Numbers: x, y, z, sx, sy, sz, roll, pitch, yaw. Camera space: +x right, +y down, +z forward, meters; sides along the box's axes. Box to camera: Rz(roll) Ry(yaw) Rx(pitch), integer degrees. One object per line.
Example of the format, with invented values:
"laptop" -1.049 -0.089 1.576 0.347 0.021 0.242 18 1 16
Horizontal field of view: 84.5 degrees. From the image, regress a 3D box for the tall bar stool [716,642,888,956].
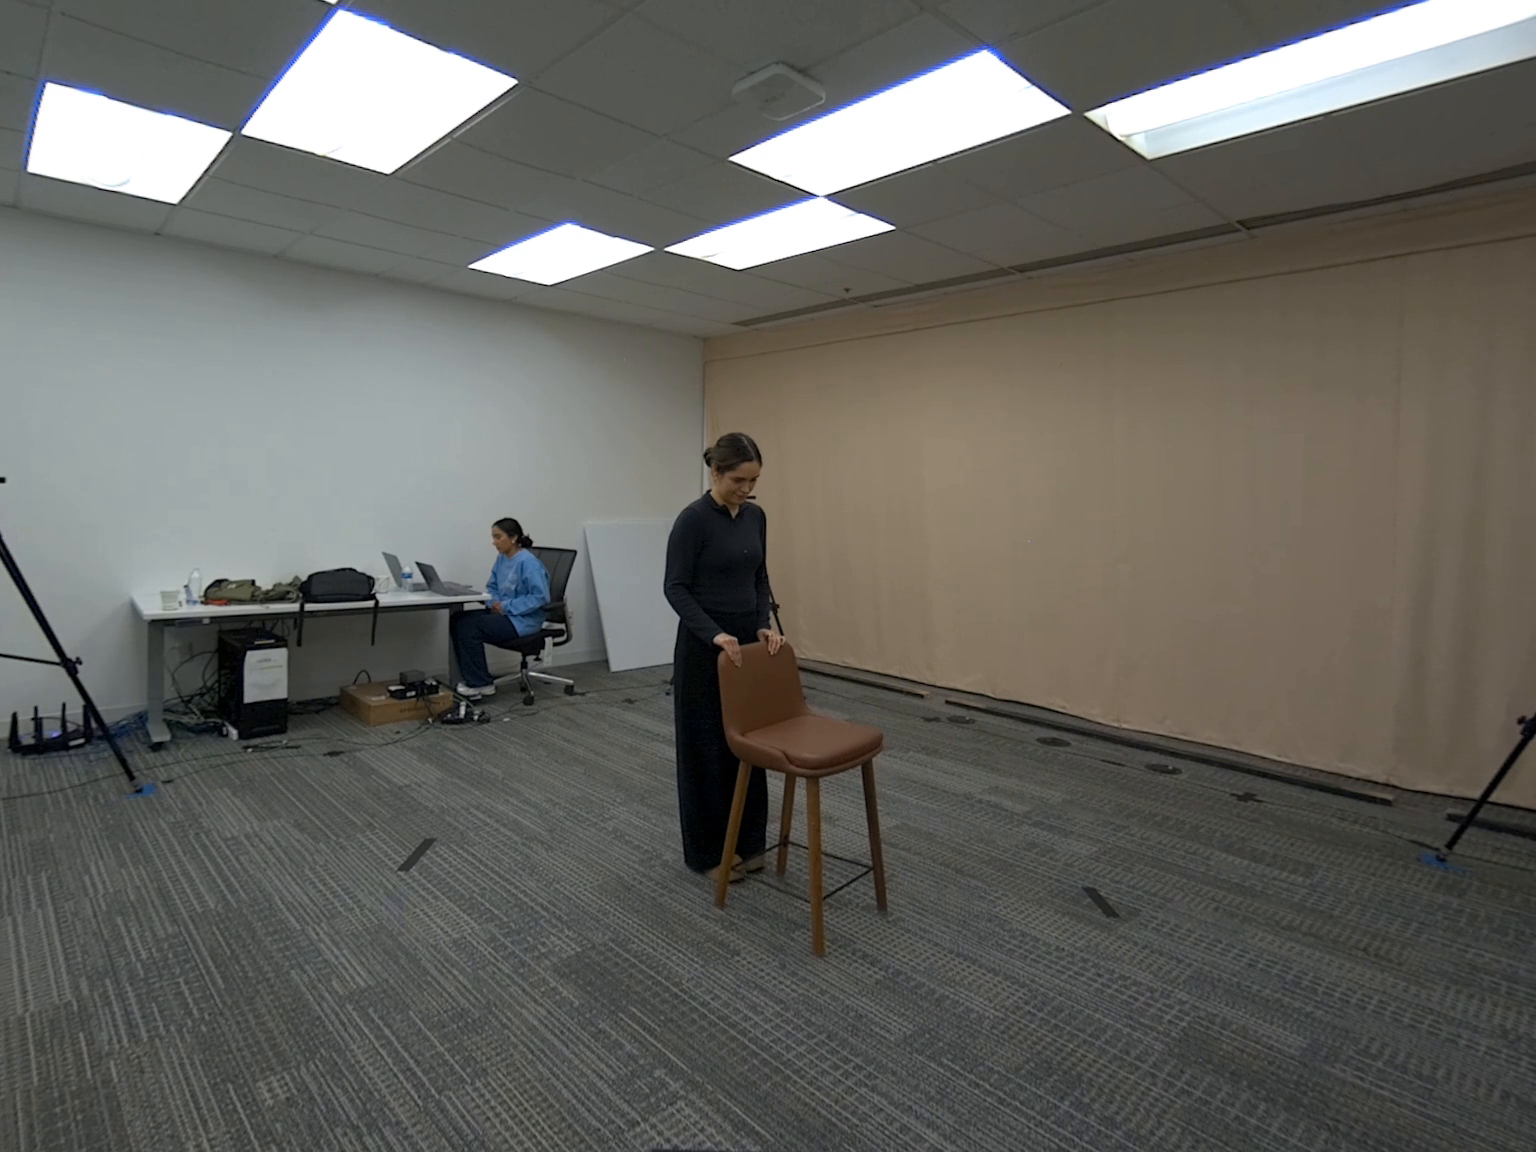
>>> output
"tall bar stool" 0.102 0.695 2.836 0.479 0.888 0.446 2 3 40
